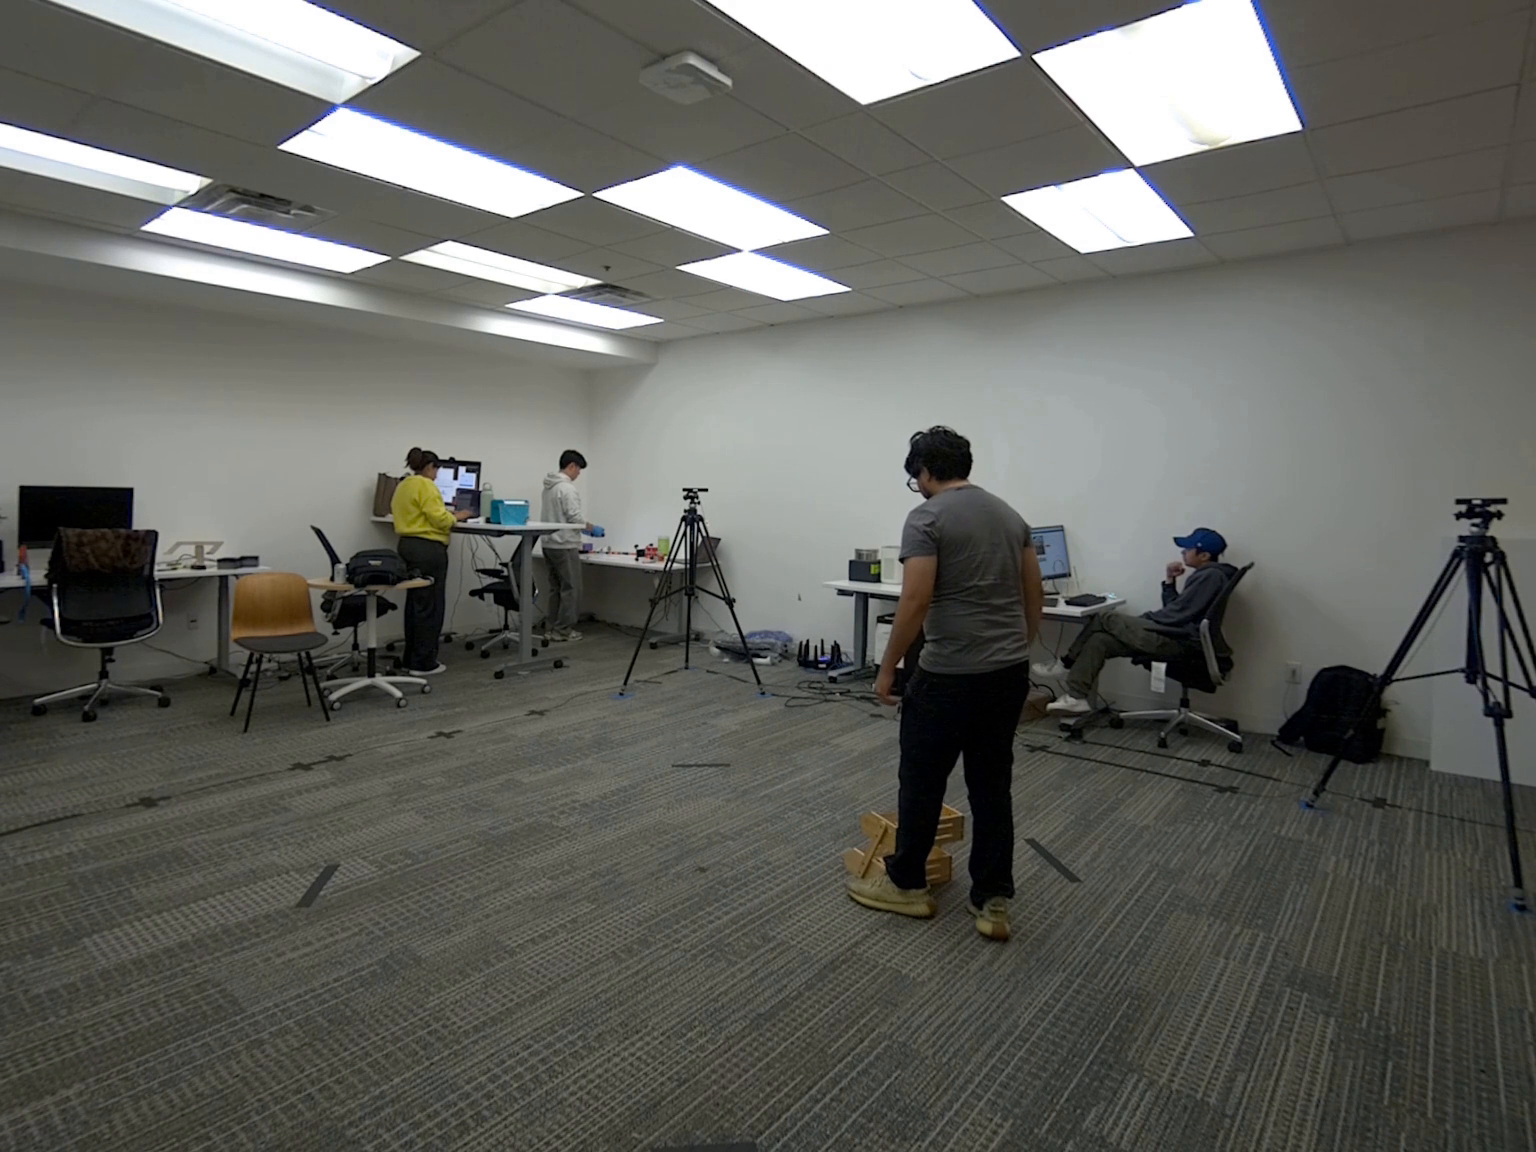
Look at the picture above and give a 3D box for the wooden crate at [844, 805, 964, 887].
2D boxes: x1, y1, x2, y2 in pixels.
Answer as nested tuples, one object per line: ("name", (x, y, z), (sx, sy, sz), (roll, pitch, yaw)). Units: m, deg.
("wooden crate", (0.480, 0.953, 3.087), (0.316, 0.272, 0.311), (-1, 6, -27))
